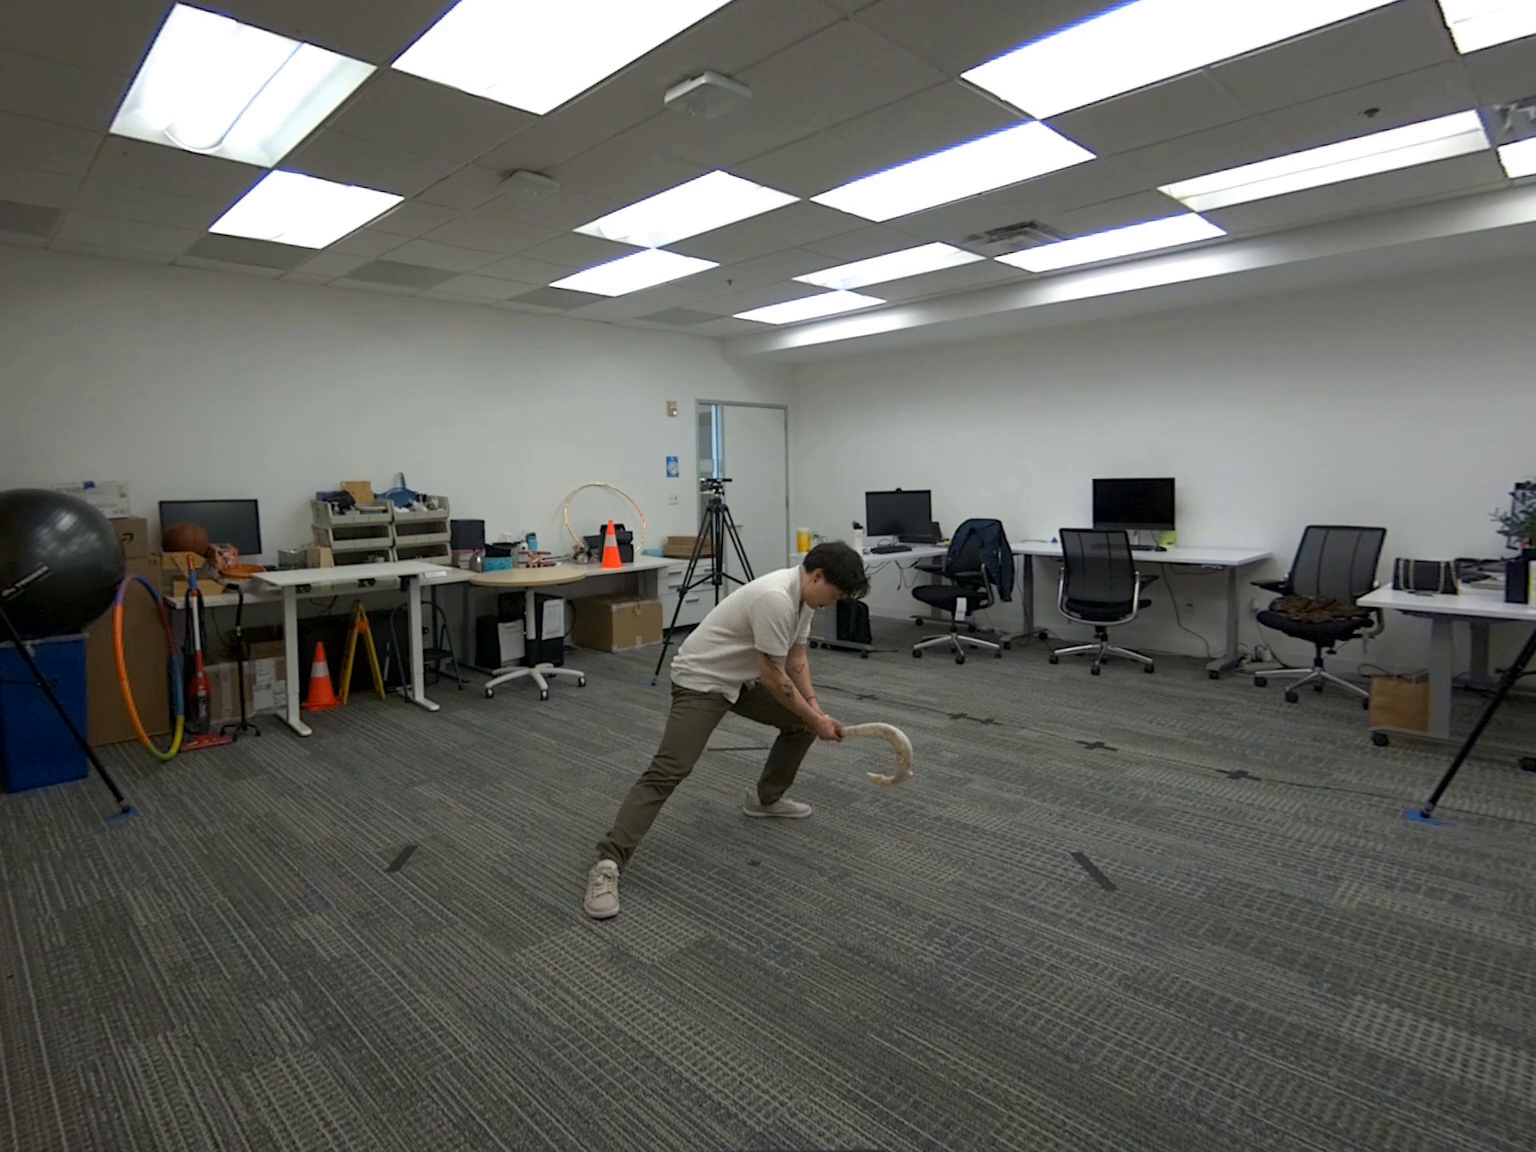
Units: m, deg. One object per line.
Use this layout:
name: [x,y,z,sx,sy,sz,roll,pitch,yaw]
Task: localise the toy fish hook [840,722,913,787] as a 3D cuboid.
toy fish hook: [0.324,0.635,3.132,0.047,0.225,0.521,6,-3,-42]
